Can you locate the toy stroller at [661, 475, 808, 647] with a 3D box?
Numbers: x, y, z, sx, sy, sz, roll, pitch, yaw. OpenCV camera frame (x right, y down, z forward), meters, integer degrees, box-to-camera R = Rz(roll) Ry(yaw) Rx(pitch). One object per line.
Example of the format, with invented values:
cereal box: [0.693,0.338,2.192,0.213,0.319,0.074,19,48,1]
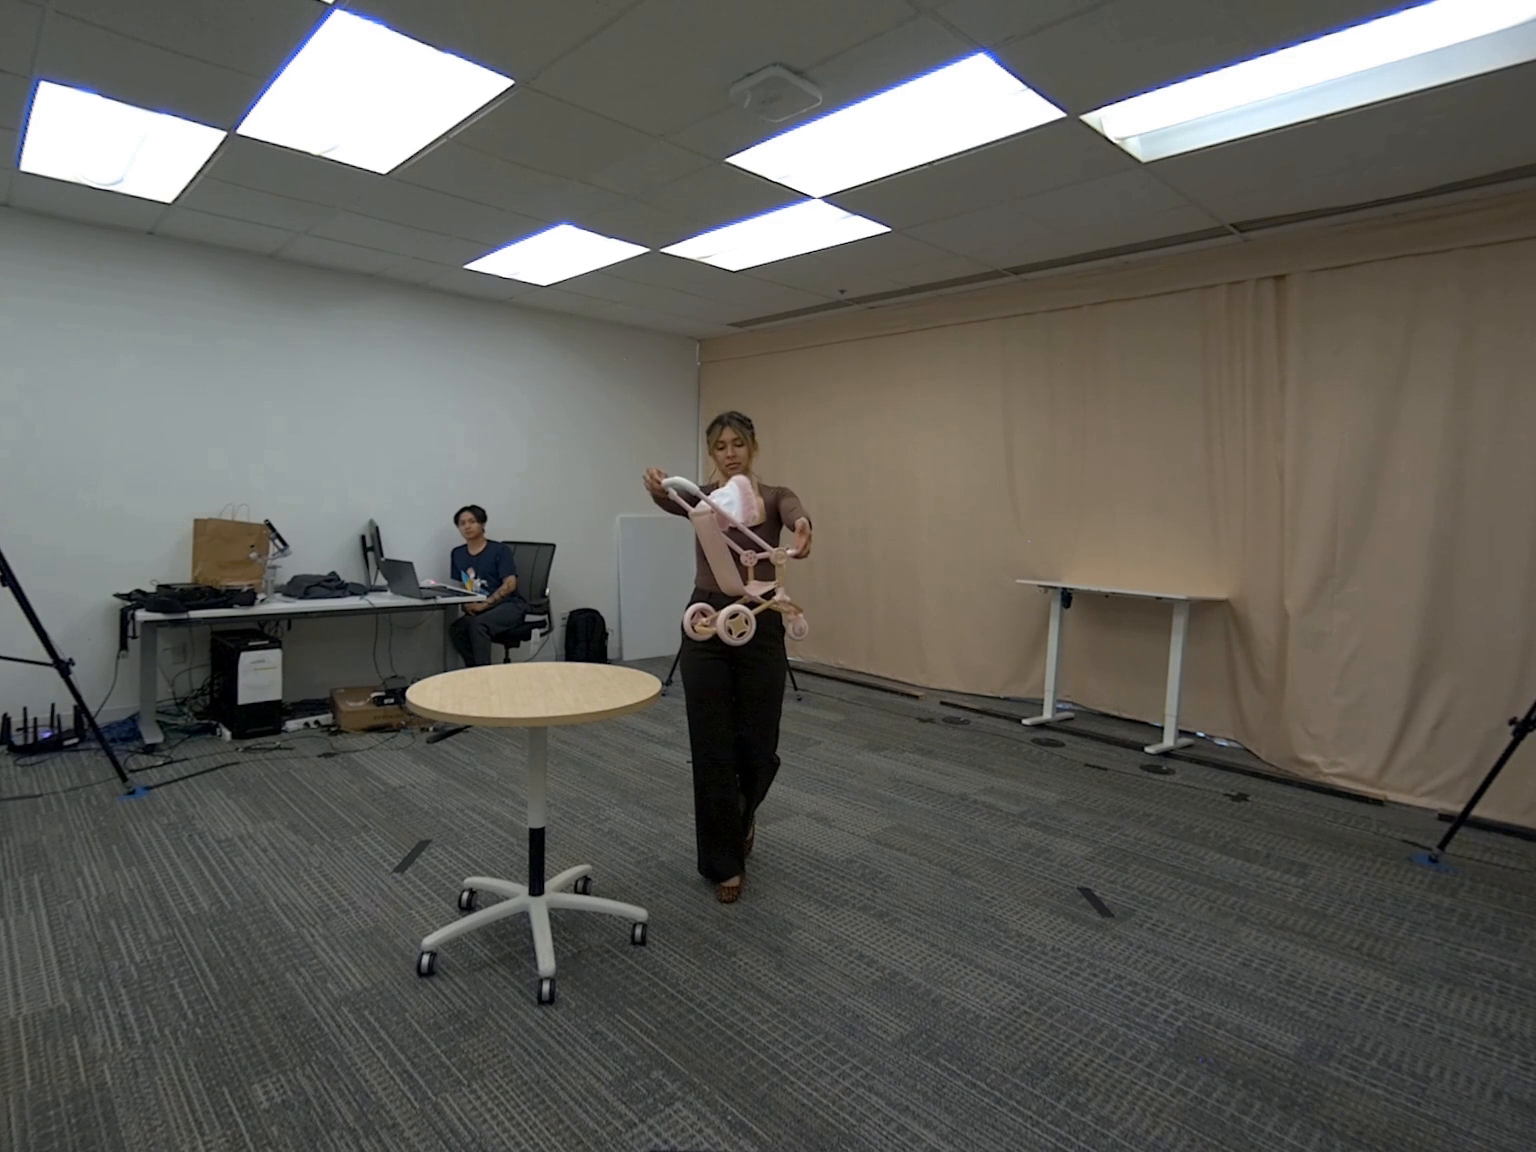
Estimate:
toy stroller: [-0.086,-0.039,2.390,0.337,0.534,0.285,-13,3,-20]
